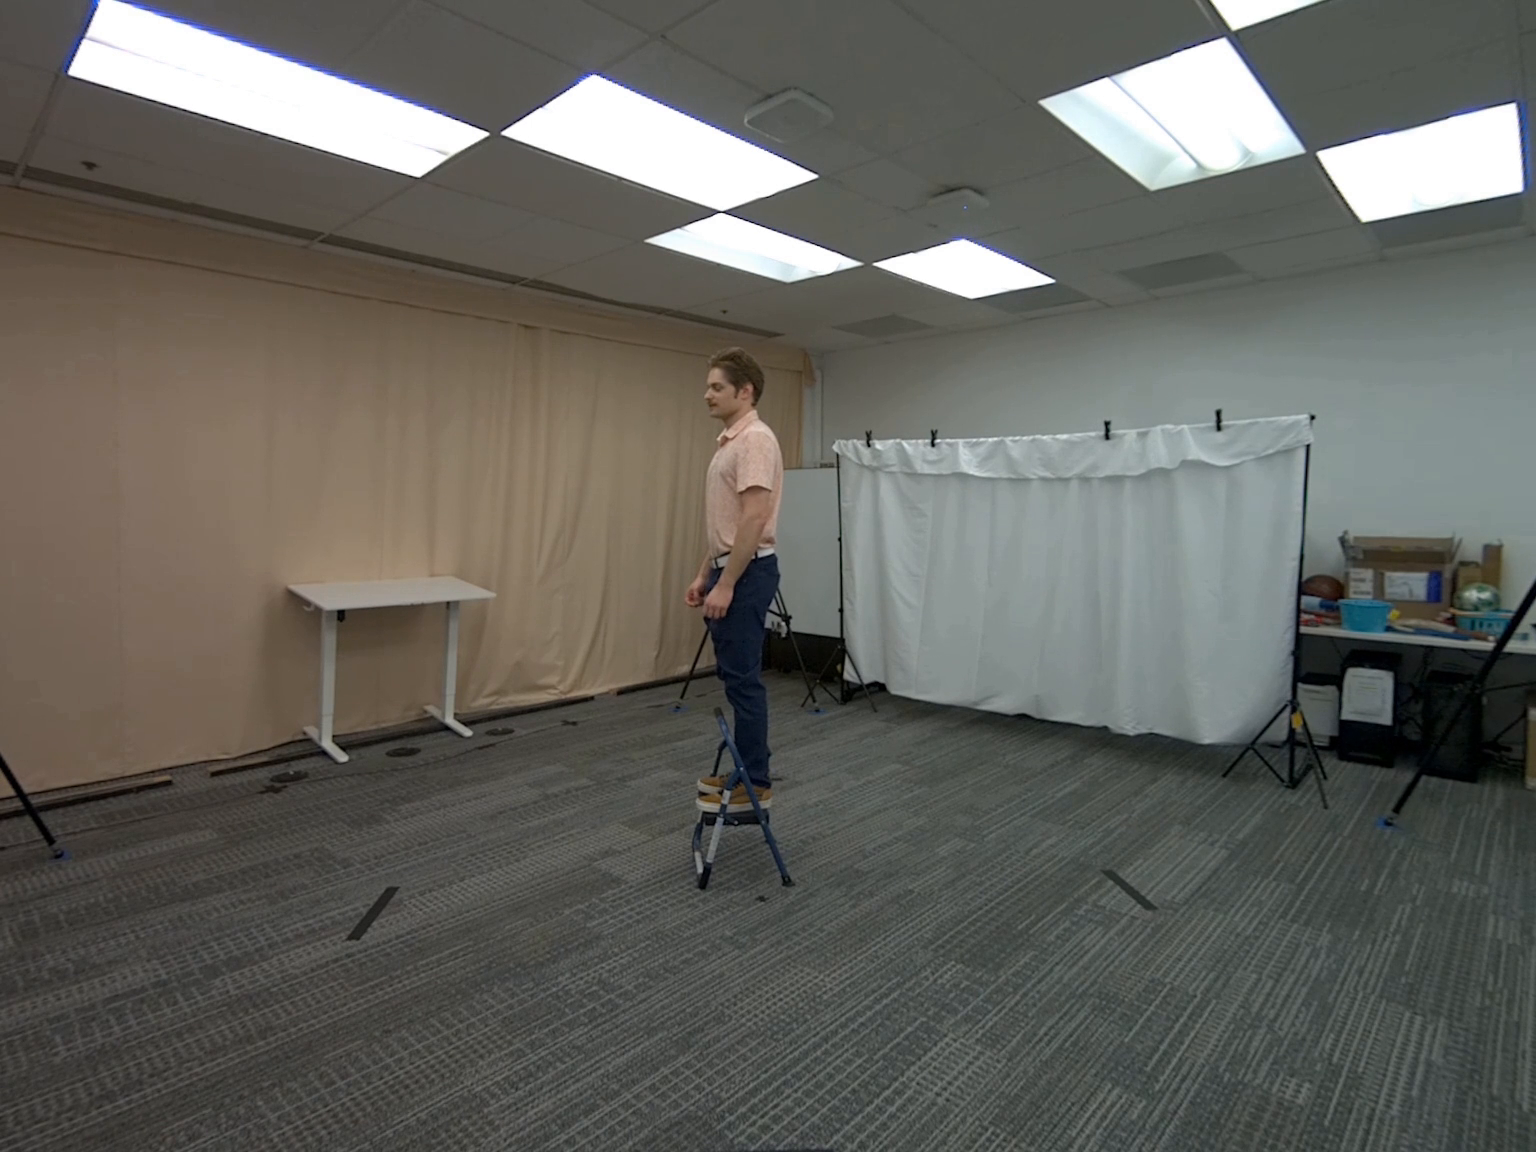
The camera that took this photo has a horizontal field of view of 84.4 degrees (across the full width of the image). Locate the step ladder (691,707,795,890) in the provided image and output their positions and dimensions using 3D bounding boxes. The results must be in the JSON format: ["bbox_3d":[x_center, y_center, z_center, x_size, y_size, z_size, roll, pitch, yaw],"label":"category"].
[{"bbox_3d":[-0.114,0.822,3.259,0.346,0.605,0.435,0,3,-9],"label":"step ladder"}]
